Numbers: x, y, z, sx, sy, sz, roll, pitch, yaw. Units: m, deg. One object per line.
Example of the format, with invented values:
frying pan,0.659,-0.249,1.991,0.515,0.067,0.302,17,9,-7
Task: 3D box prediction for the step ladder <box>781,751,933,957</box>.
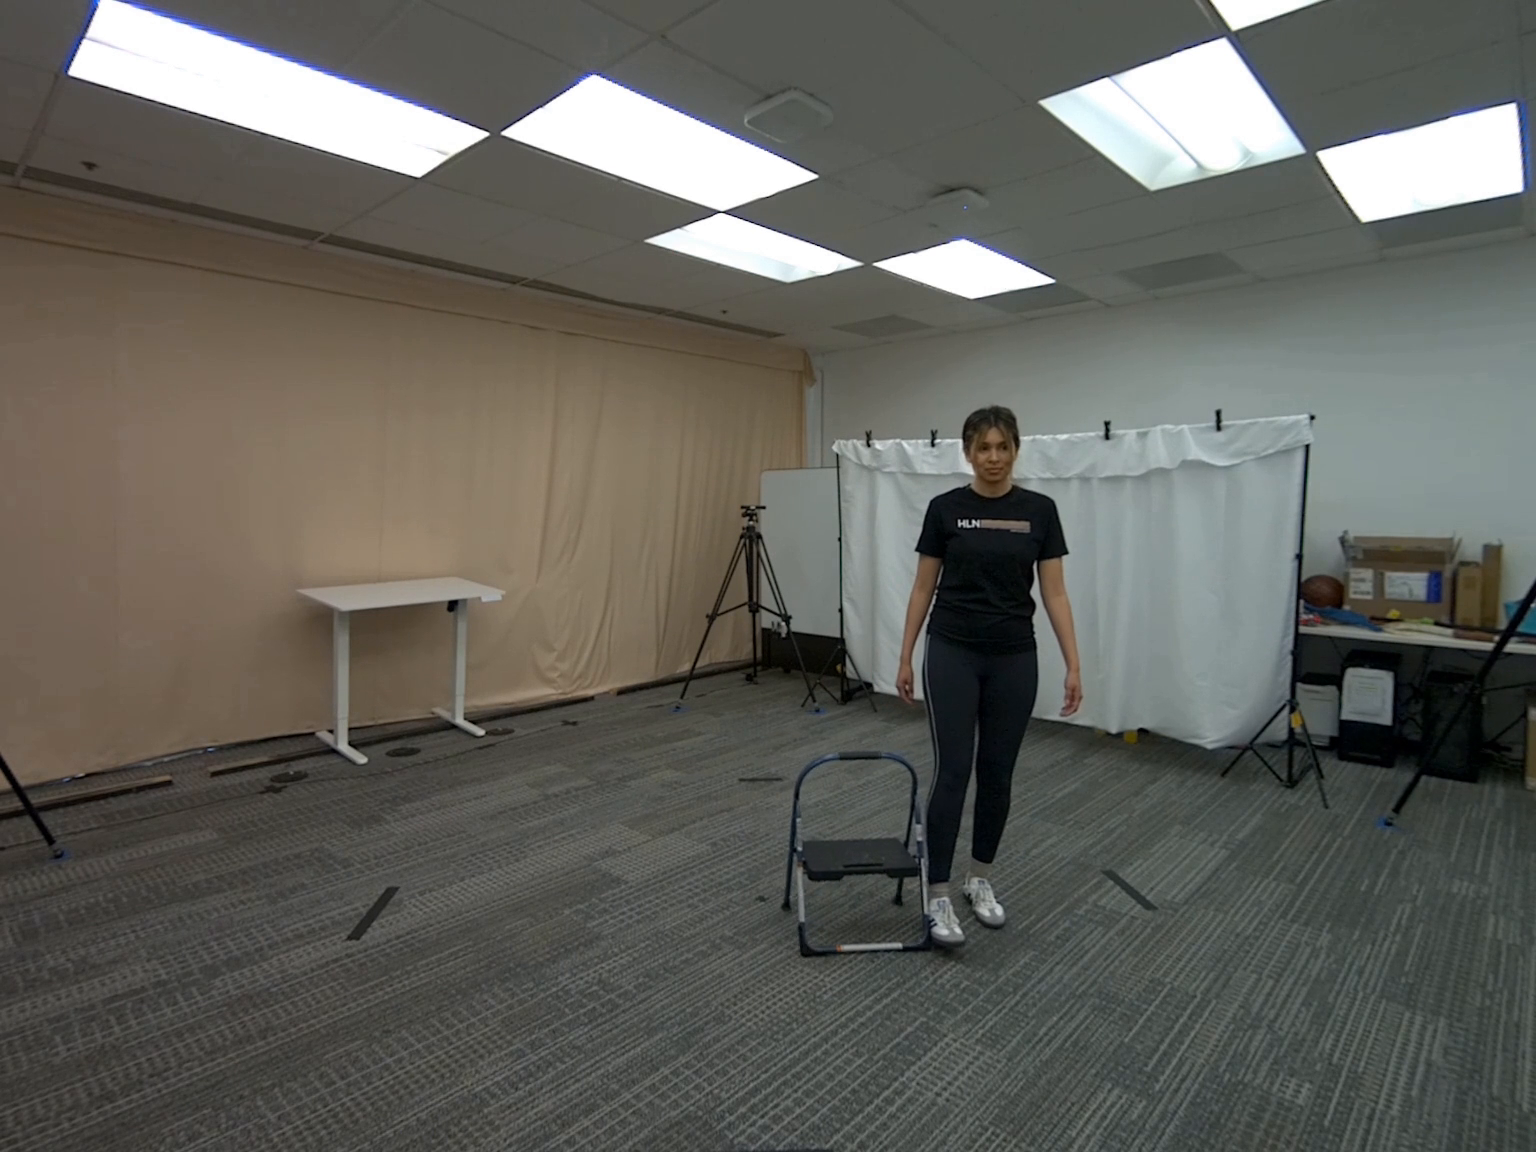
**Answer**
step ladder,0.280,0.865,2.766,0.428,0.605,0.352,0,3,-6
